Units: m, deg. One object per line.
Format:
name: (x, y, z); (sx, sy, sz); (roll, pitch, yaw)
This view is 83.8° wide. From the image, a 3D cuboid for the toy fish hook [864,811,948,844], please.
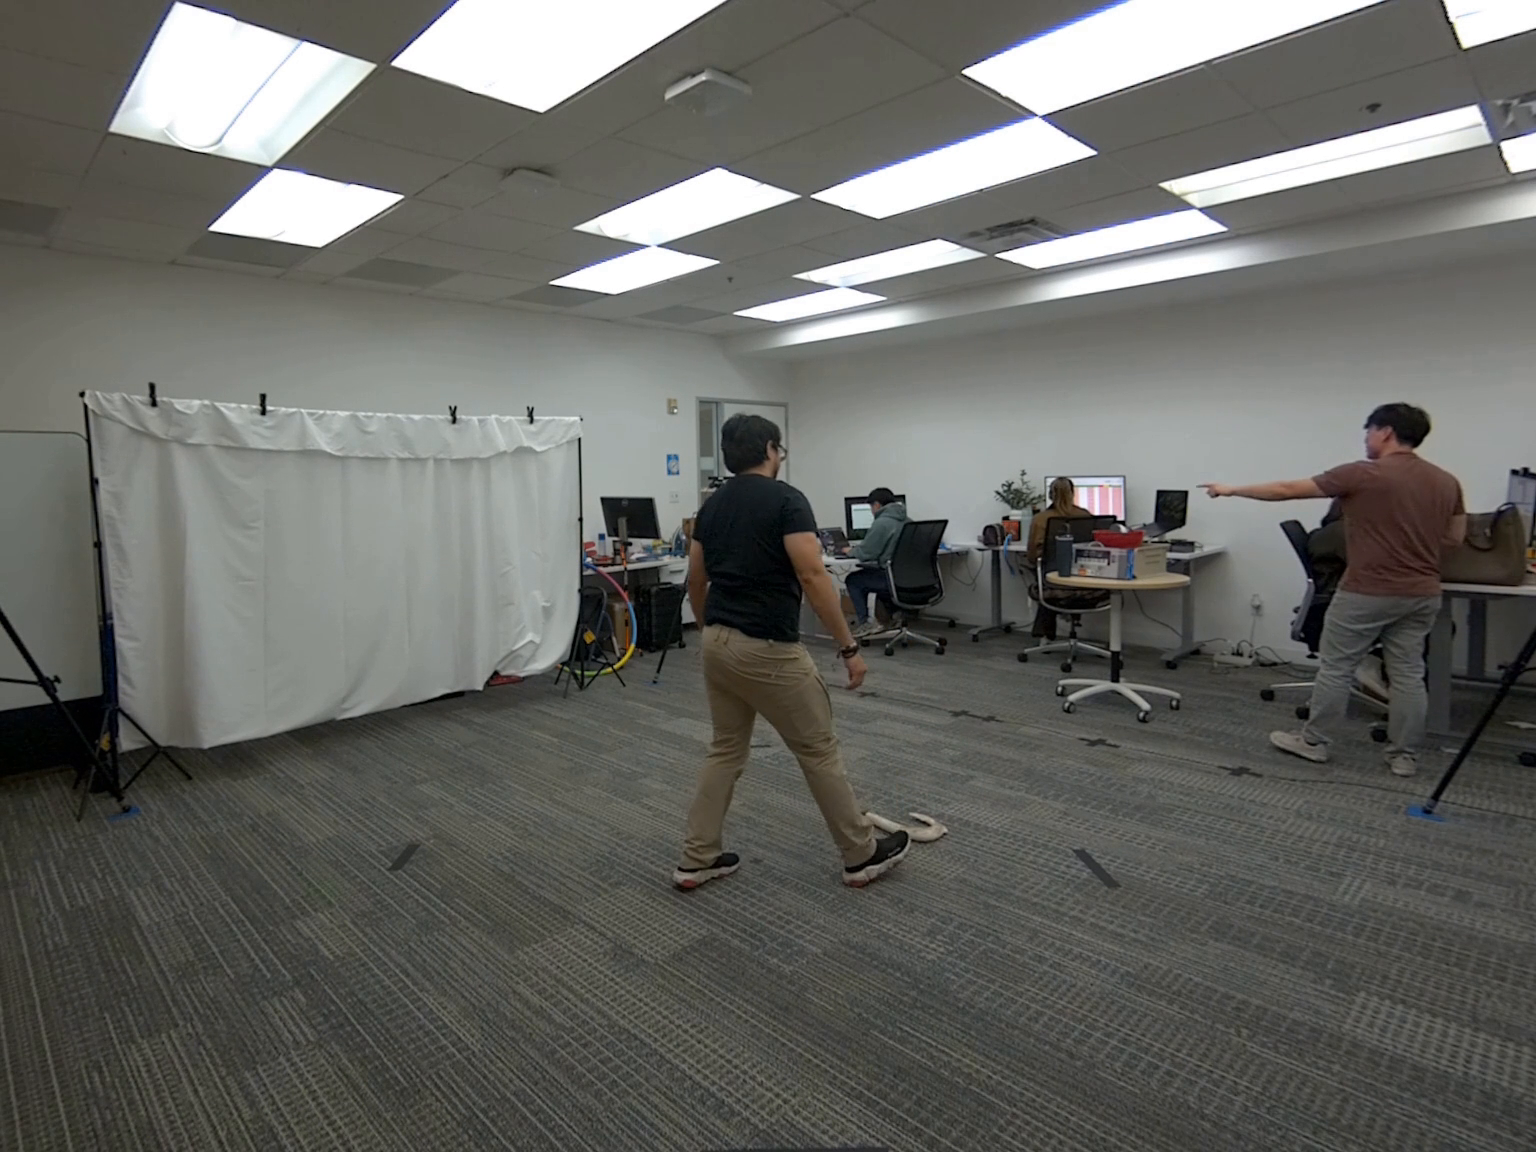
toy fish hook: (0.473, 0.973, 3.437); (0.522, 0.048, 0.218); (6, 2, 42)
